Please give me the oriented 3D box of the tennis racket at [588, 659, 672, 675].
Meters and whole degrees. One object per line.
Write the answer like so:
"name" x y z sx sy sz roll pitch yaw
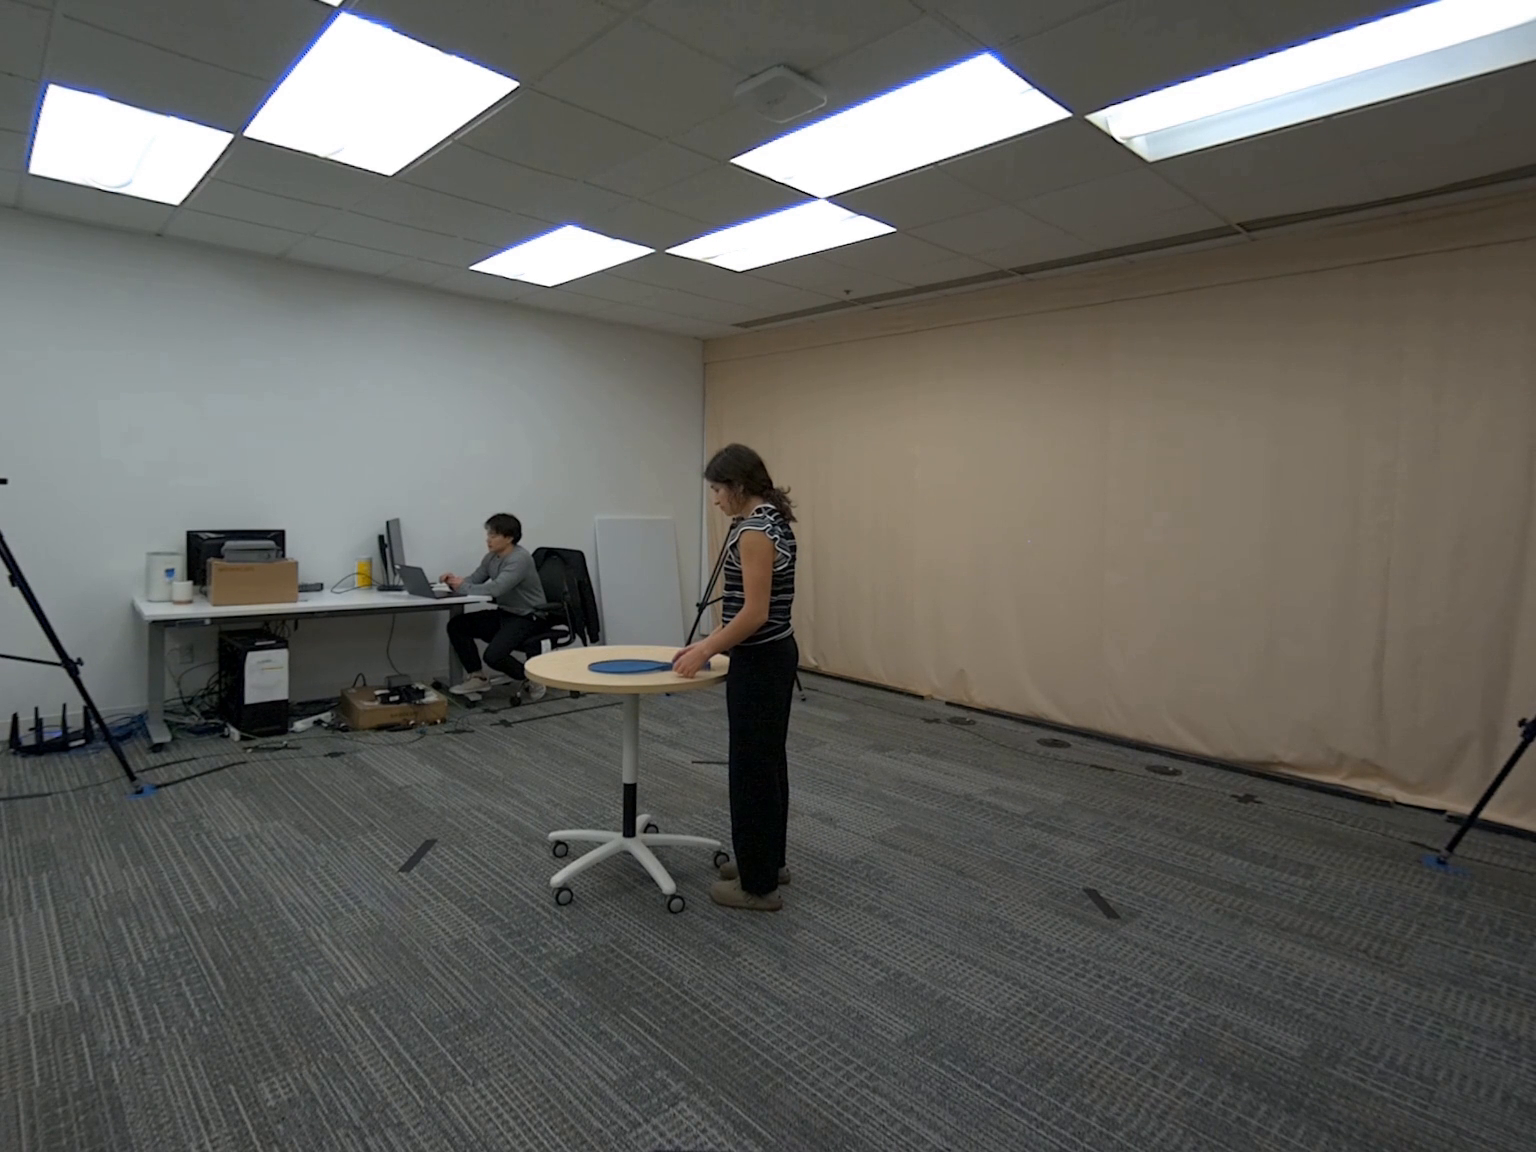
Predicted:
"tennis racket" -0.422 0.318 2.956 0.432 0.032 0.214 0 4 -2
